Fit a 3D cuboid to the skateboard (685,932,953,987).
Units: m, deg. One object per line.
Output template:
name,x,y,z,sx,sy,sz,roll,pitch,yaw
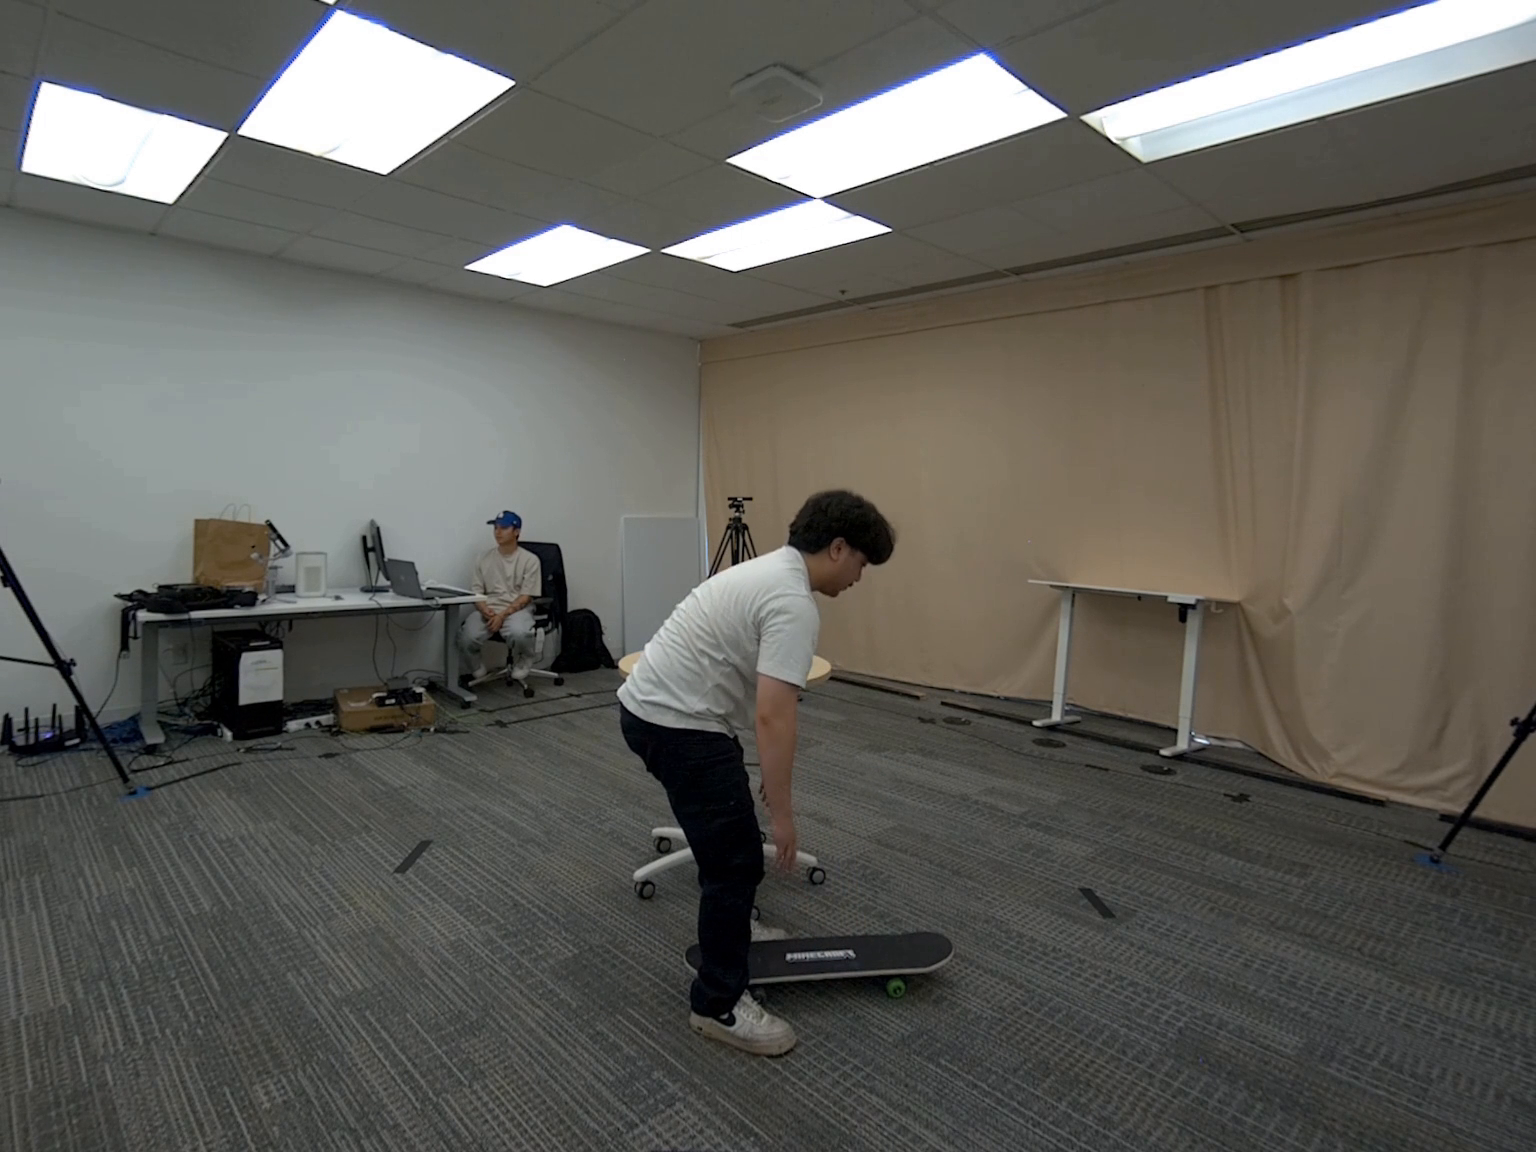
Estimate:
skateboard,0.145,1.118,2.419,0.780,0.110,0.195,1,5,-8
